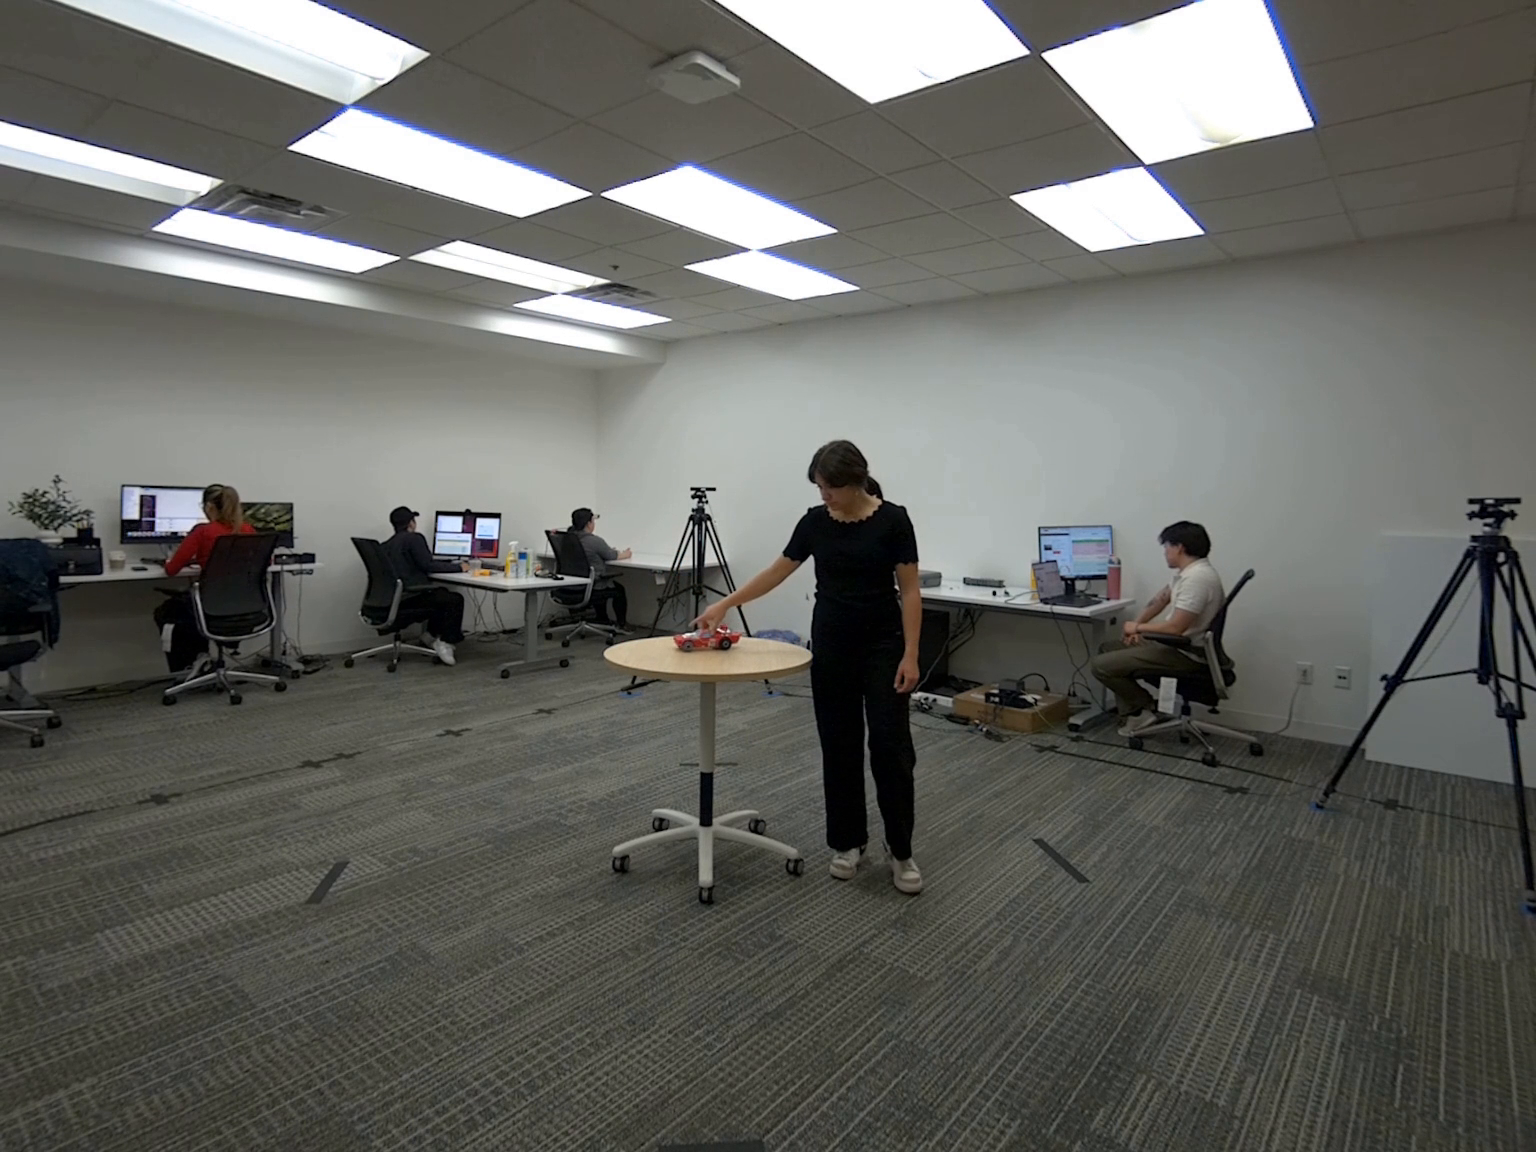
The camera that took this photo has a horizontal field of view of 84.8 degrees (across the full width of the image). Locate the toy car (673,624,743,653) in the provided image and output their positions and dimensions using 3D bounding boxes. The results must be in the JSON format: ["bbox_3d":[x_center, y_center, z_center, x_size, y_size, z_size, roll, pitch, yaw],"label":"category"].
[{"bbox_3d":[-0.232,0.241,3.217,0.251,0.082,0.133,-12,8,-16],"label":"toy car"}]
